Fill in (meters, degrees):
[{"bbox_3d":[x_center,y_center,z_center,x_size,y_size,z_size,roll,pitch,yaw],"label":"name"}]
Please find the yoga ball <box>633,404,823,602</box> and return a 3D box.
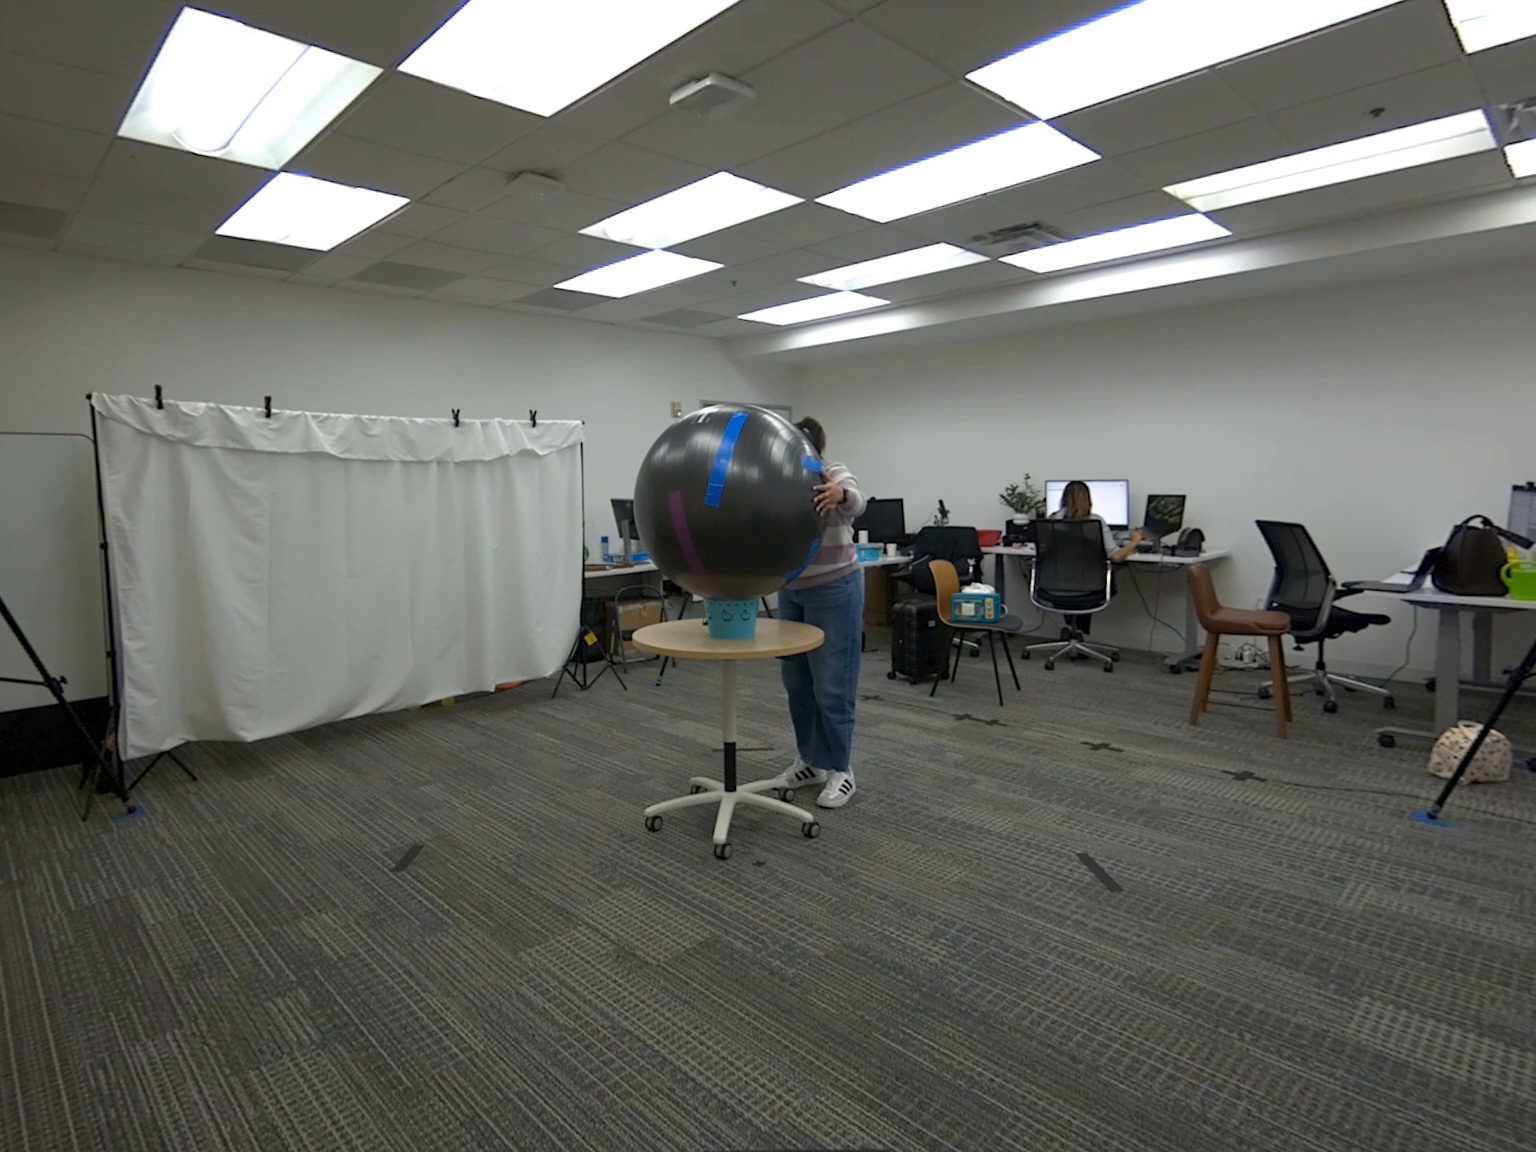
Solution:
[{"bbox_3d":[-0.149,-0.279,3.299,0.757,0.755,0.762,-1,5,-2],"label":"yoga ball"}]
